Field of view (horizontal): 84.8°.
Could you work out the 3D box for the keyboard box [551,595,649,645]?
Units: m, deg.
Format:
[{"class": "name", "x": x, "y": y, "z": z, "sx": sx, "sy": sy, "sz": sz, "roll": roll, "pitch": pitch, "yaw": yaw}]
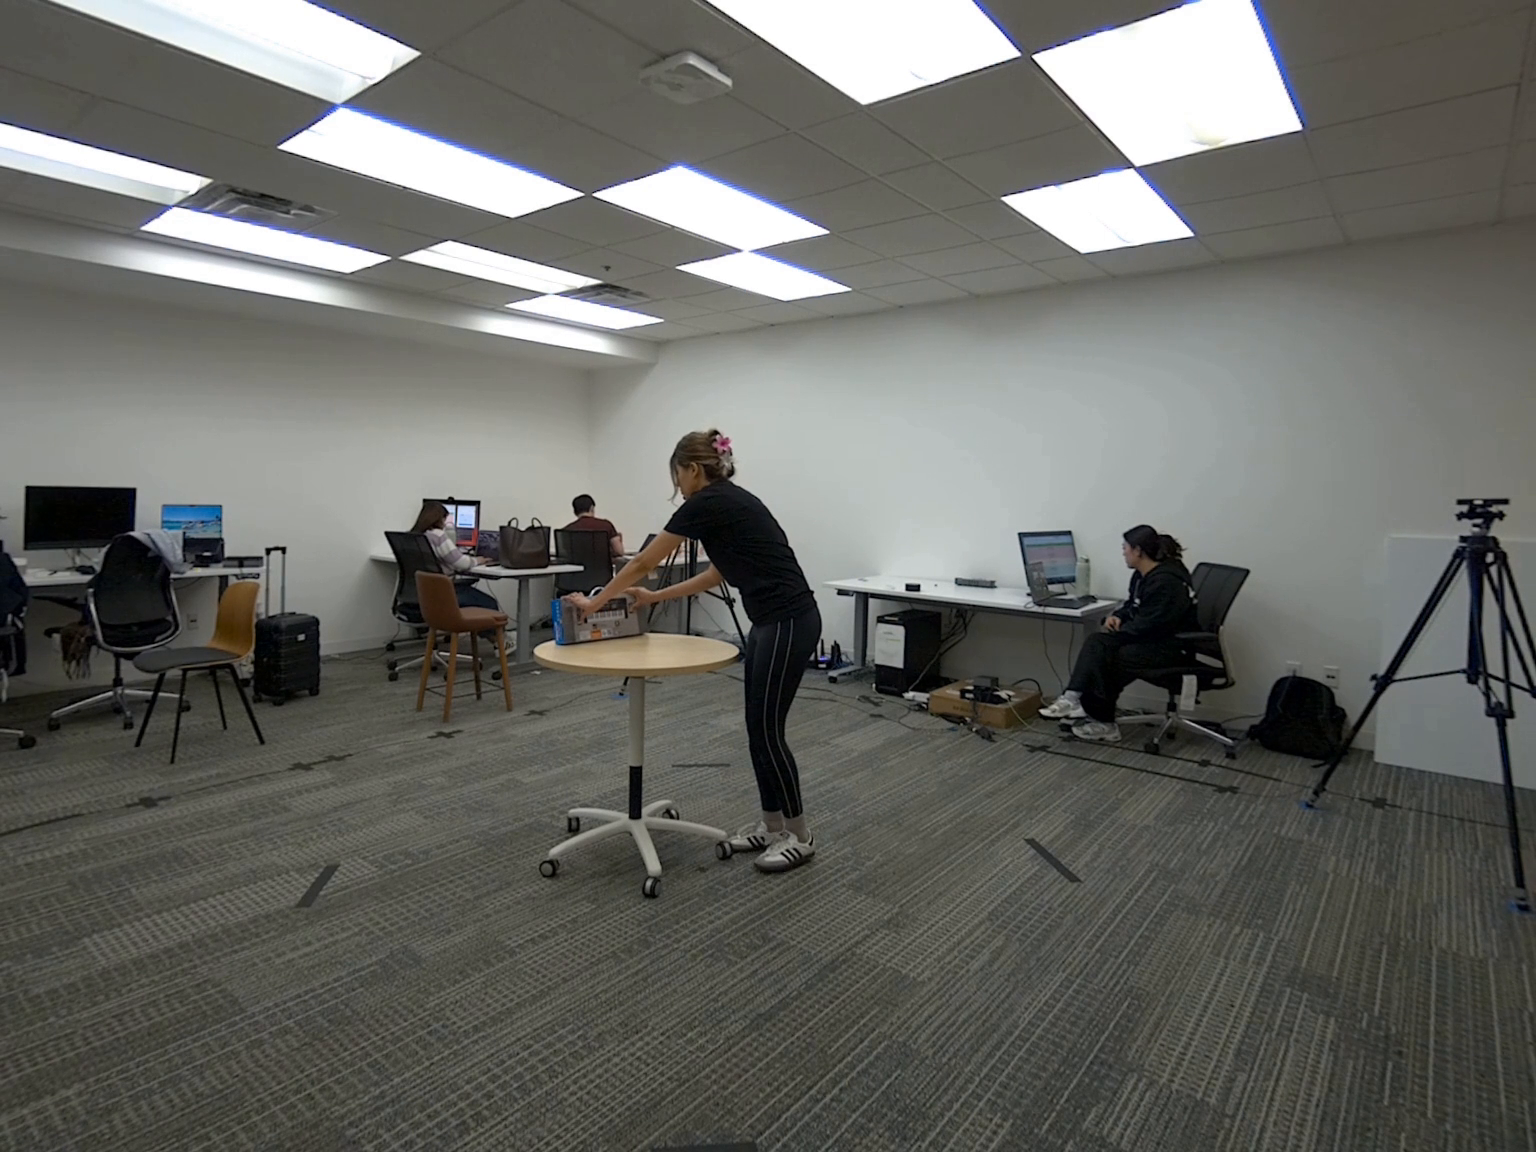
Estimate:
[{"class": "keyboard box", "x": -0.677, "y": 0.165, "z": 3.416, "sx": 0.060, "sy": 0.177, "sz": 0.423, "roll": -11, "pitch": -5, "yaw": 42}]
